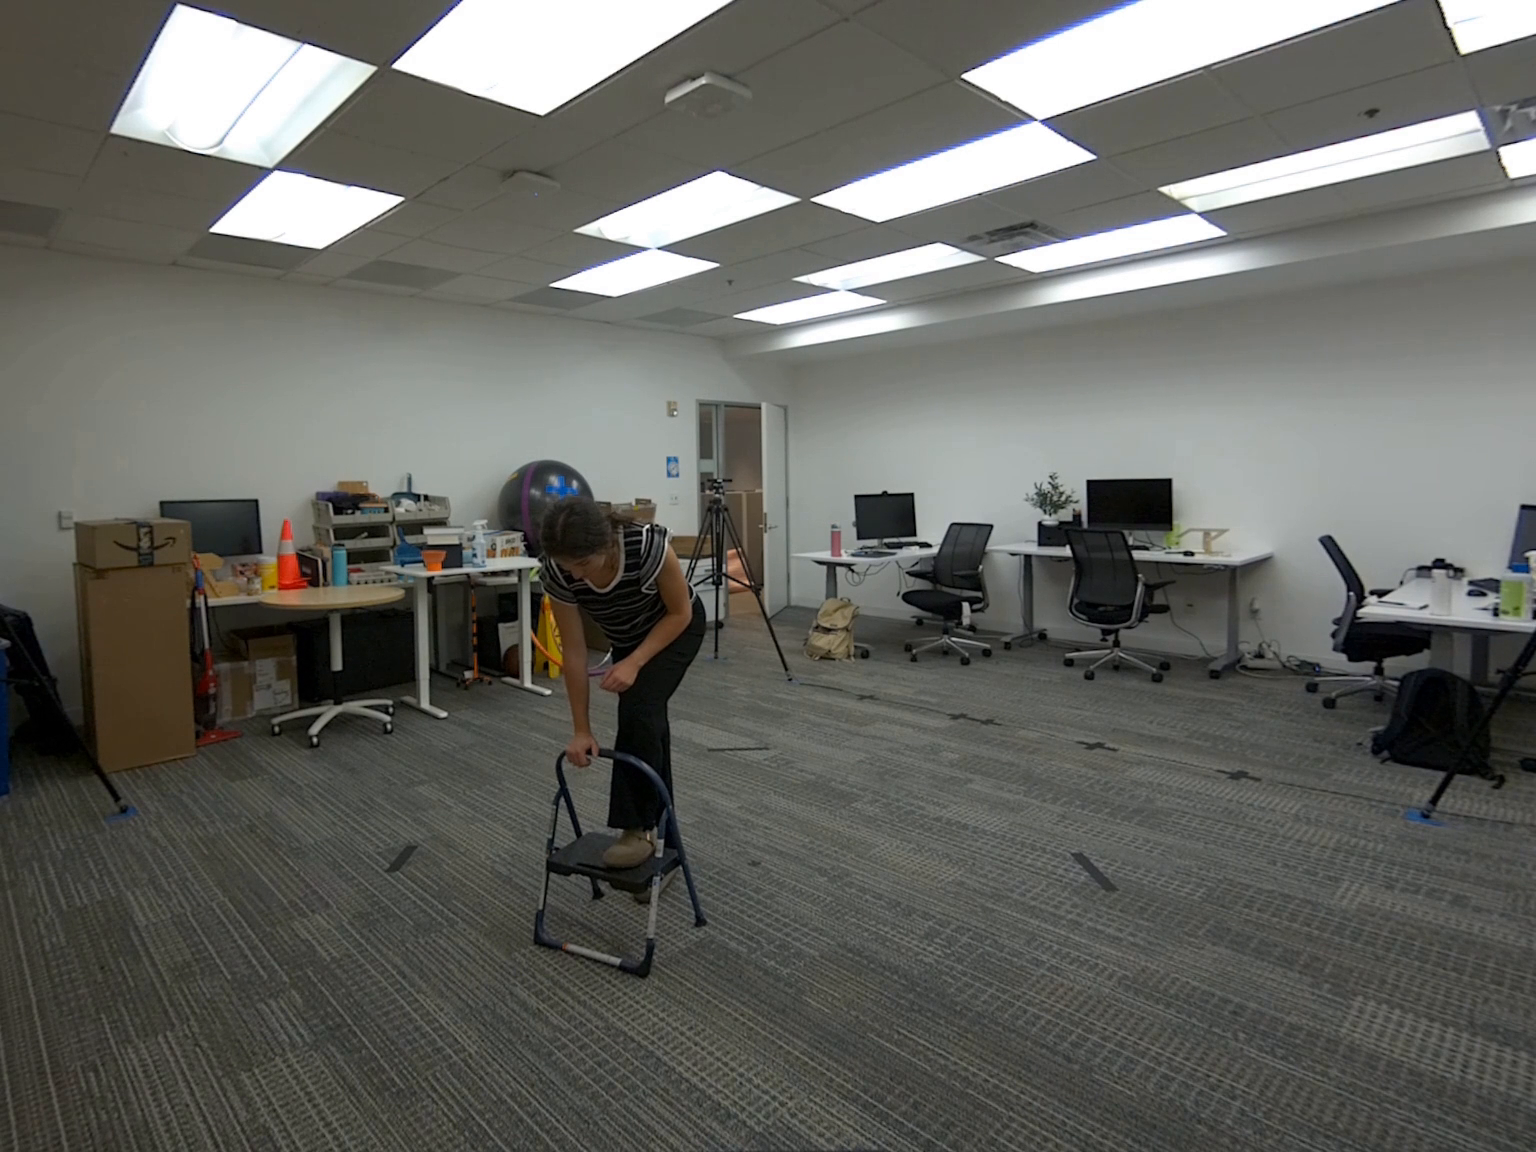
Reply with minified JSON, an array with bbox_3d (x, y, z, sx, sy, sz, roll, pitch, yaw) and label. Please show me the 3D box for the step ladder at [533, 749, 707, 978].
[{"bbox_3d":[-0.462,0.807,2.628,0.441,0.603,0.343,1,6,26],"label":"step ladder"}]
